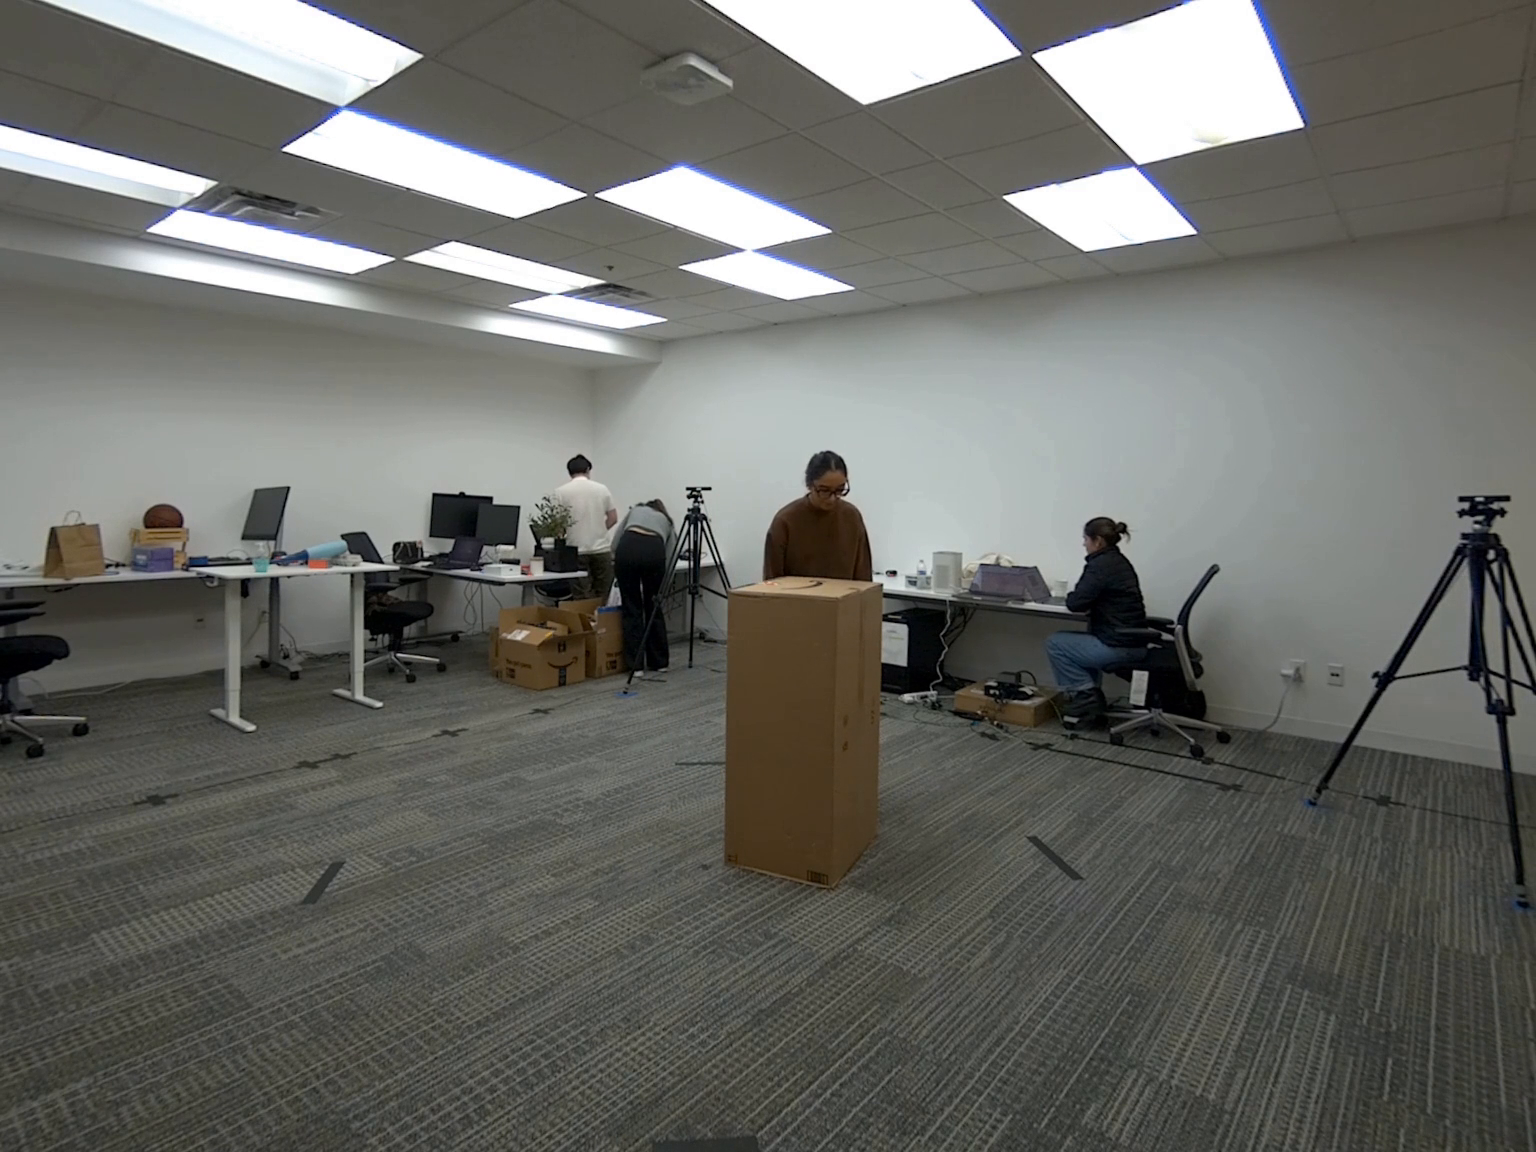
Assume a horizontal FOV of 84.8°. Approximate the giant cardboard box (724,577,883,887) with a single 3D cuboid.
[{"bbox_3d":[0.138,0.548,3.272,0.437,1.022,0.565,2,4,25],"label":"giant cardboard box"}]
